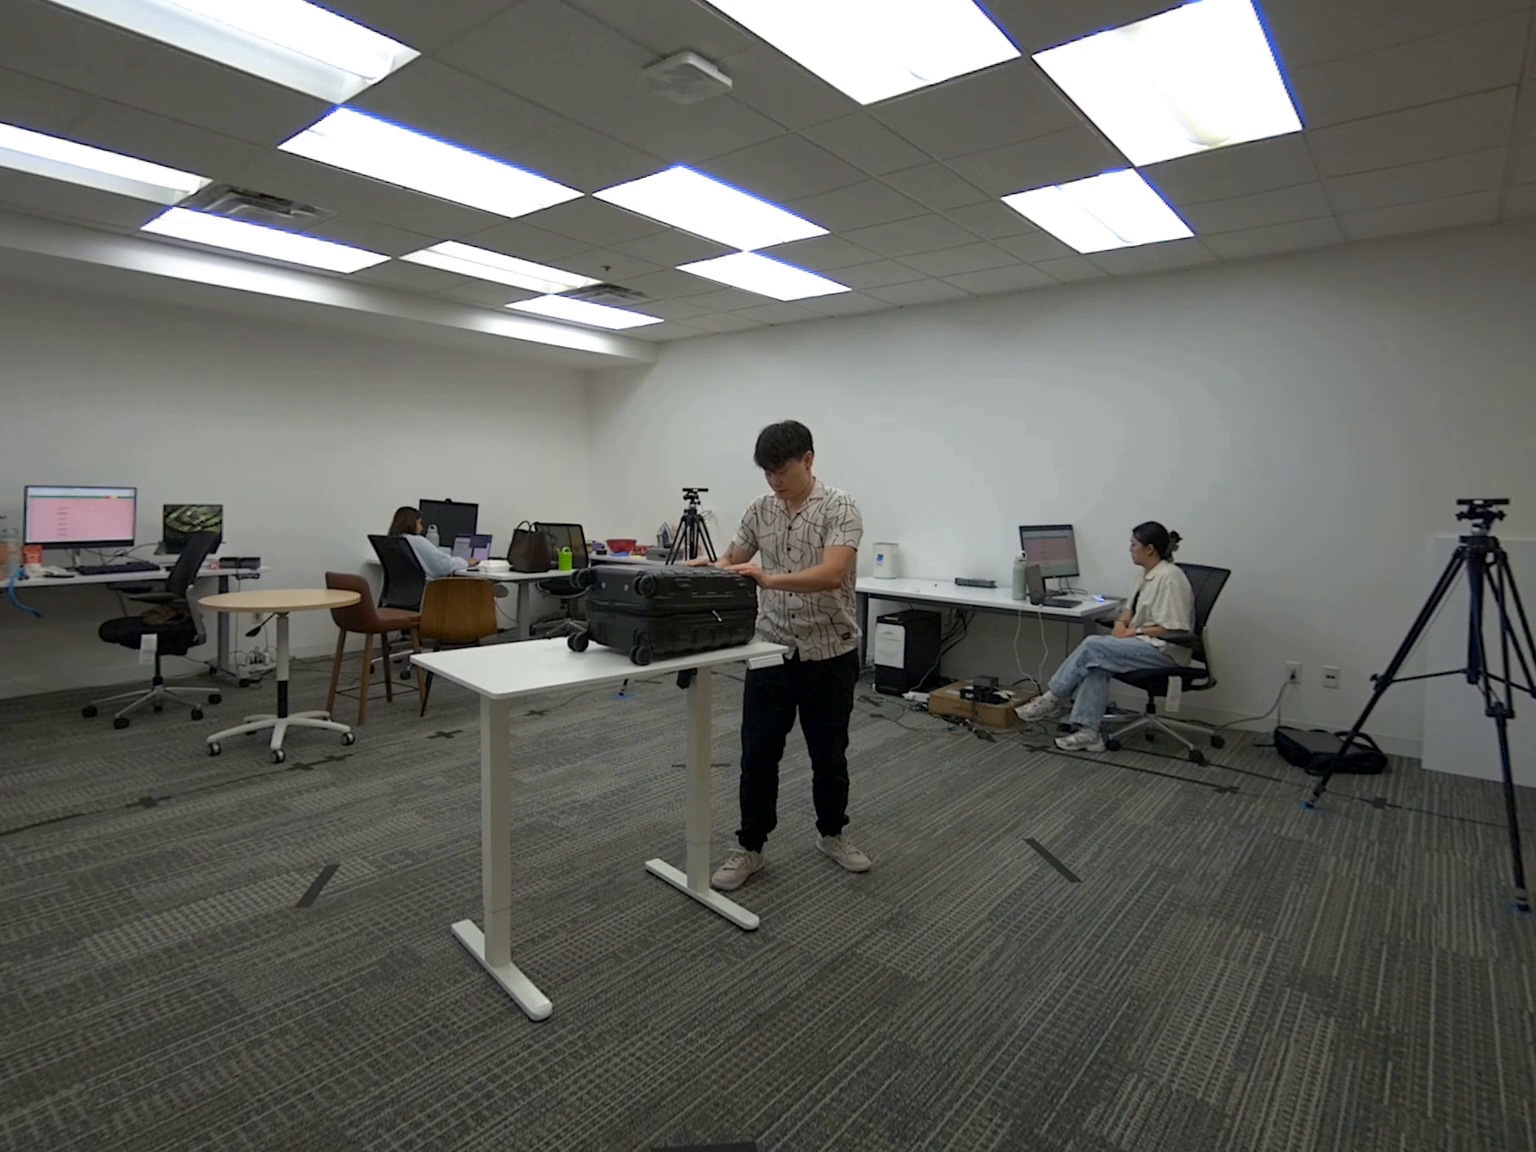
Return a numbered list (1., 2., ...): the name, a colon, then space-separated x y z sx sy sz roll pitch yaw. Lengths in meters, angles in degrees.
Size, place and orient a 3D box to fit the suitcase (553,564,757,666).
1. suitcase: -0.322 0.095 2.712 0.388 0.248 0.532 6 5 41
